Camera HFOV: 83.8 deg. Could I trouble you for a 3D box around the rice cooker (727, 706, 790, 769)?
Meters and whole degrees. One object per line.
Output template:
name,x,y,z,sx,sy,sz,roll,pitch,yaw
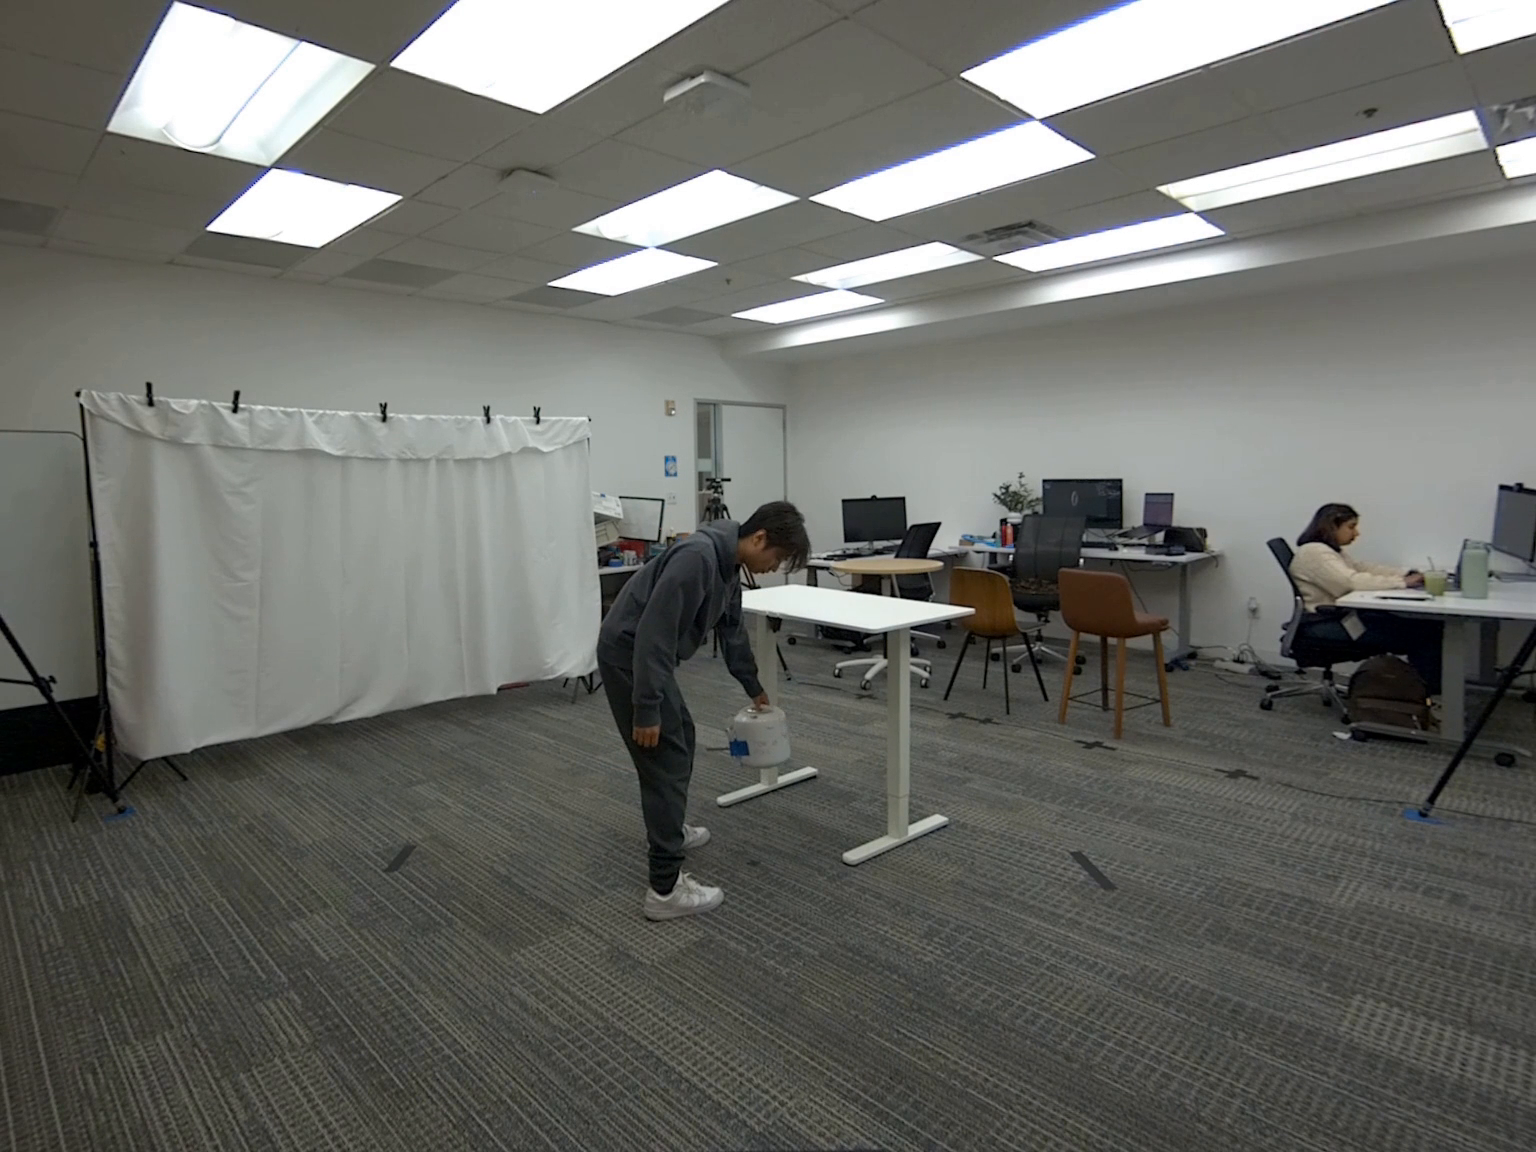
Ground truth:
rice cooker,-0.026,0.617,3.332,0.226,0.232,0.213,-6,3,31
